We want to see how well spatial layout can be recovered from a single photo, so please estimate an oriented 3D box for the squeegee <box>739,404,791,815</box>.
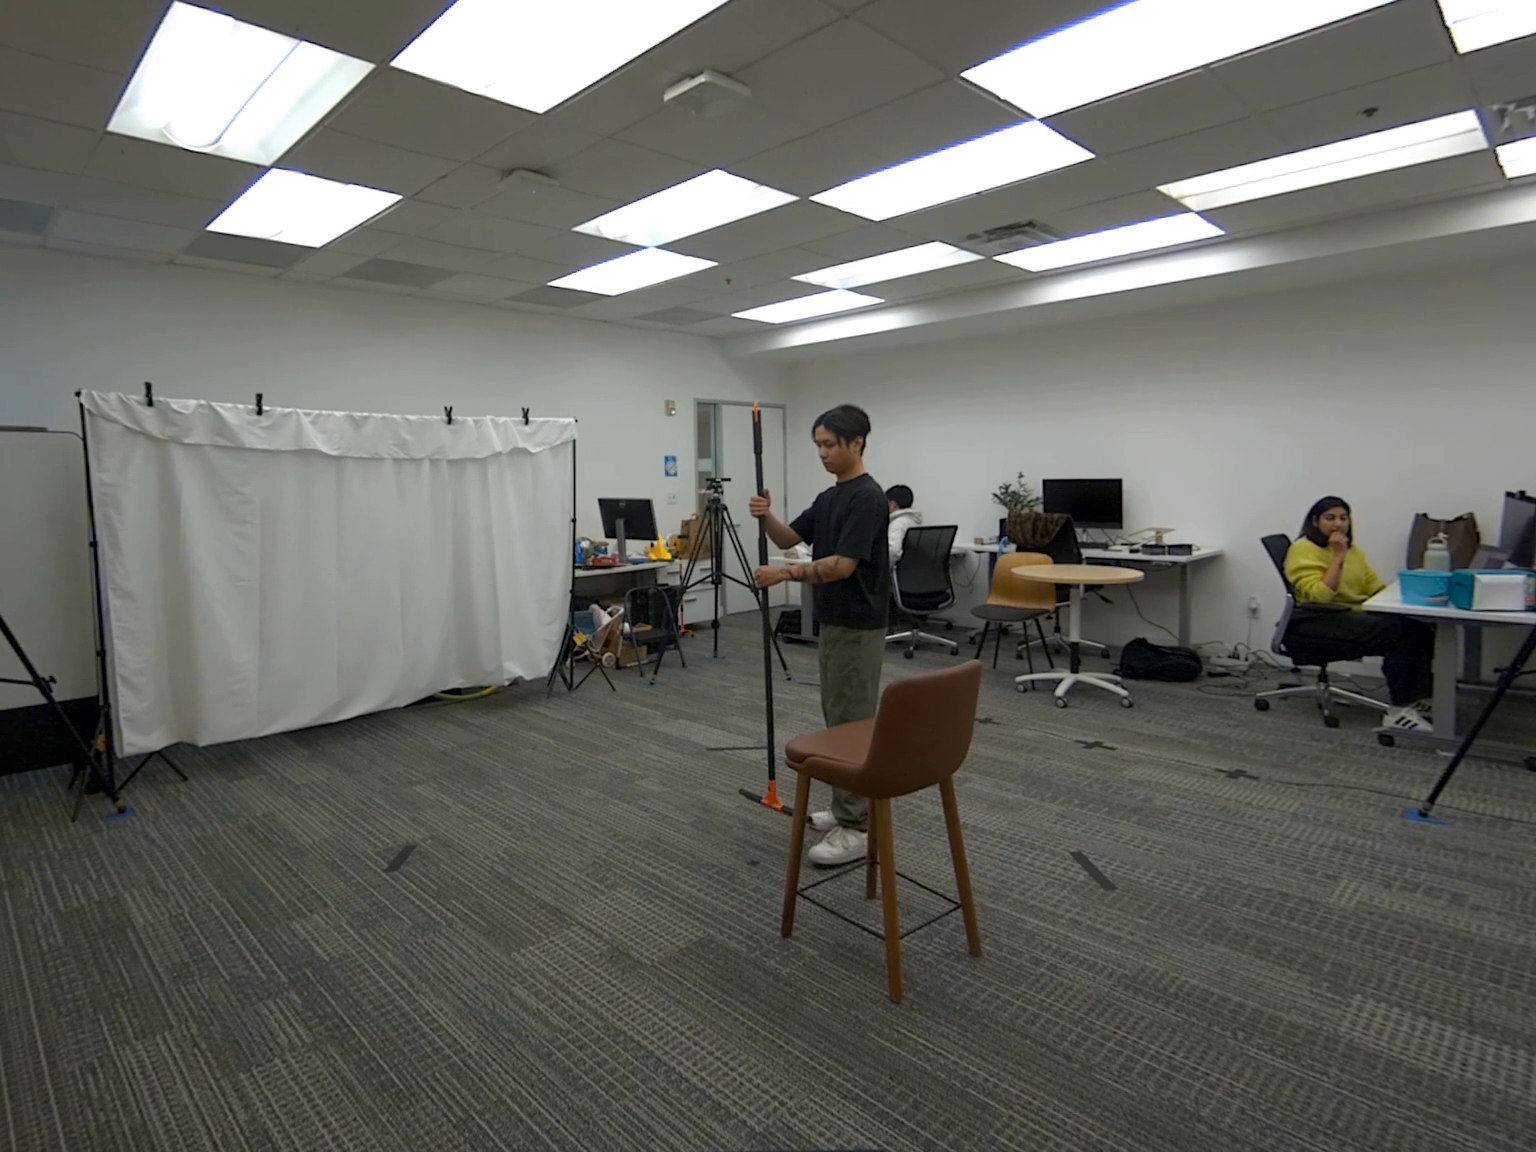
[{"bbox_3d":[-0.021,0.138,3.211,0.052,1.535,0.449,-5,2,-32],"label":"squeegee"}]
